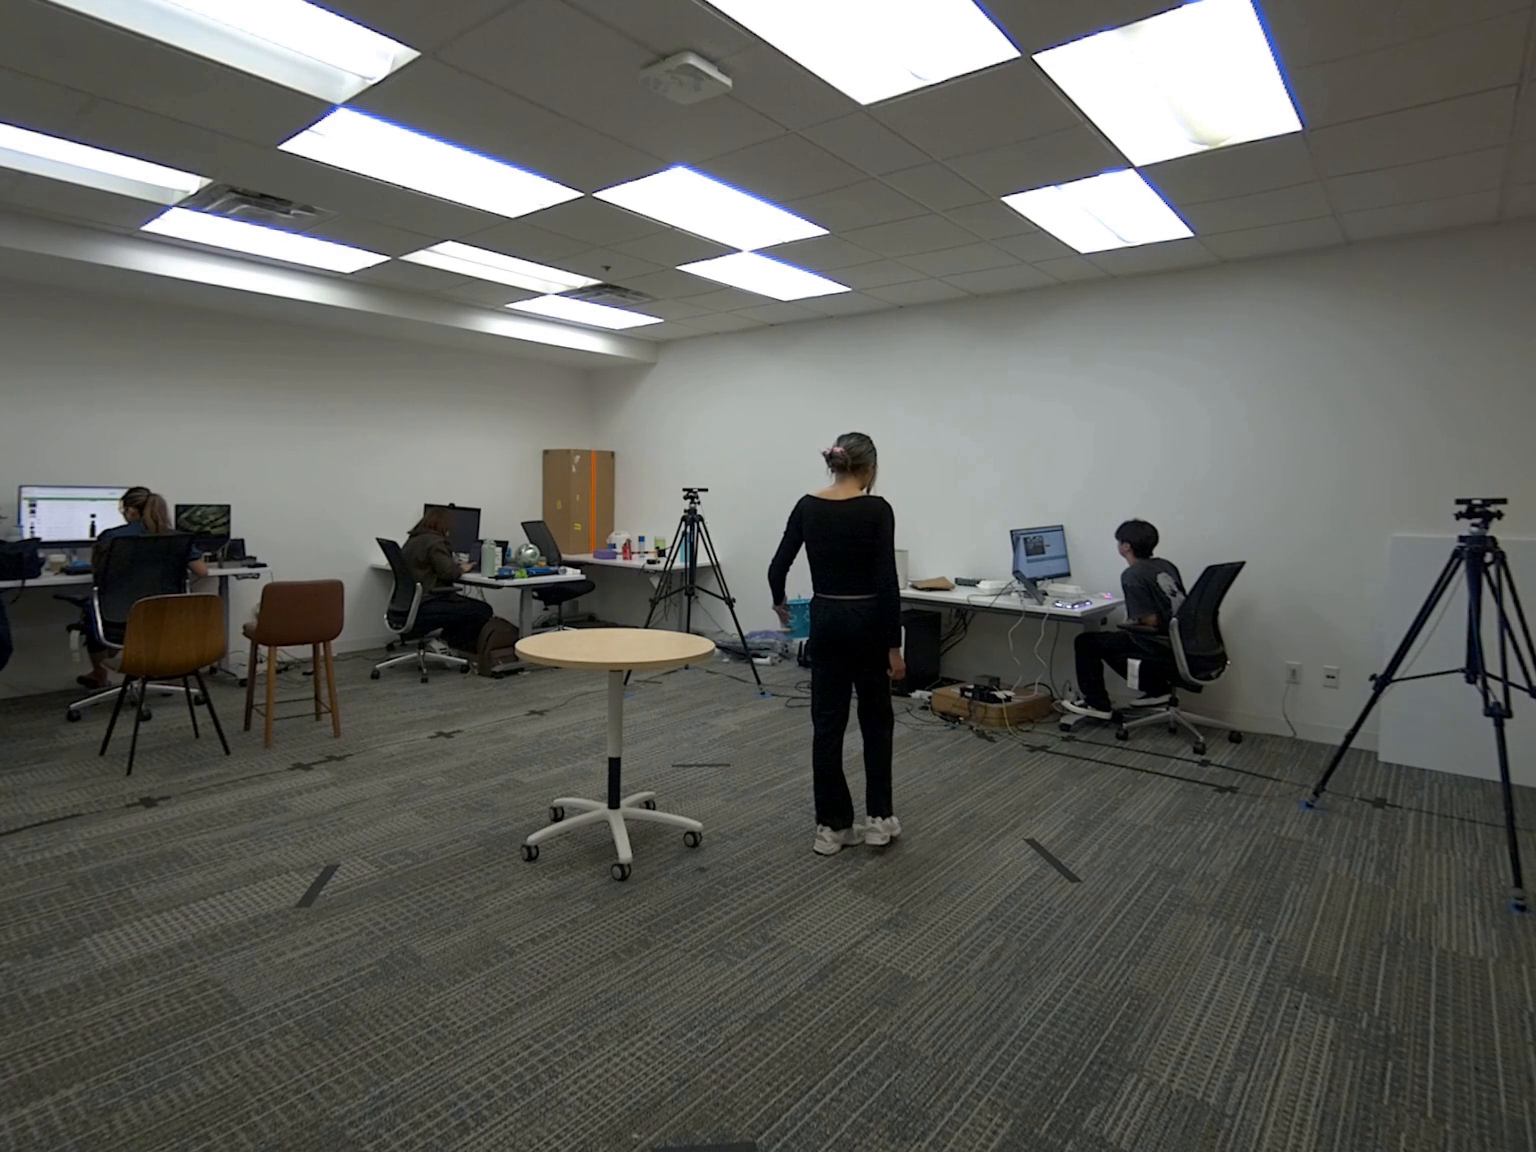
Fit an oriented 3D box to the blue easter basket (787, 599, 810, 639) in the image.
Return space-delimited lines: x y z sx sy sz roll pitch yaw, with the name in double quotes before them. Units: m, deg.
"blue easter basket" 0.139 0.180 3.714 0.243 0.156 0.244 -4 1 -2
